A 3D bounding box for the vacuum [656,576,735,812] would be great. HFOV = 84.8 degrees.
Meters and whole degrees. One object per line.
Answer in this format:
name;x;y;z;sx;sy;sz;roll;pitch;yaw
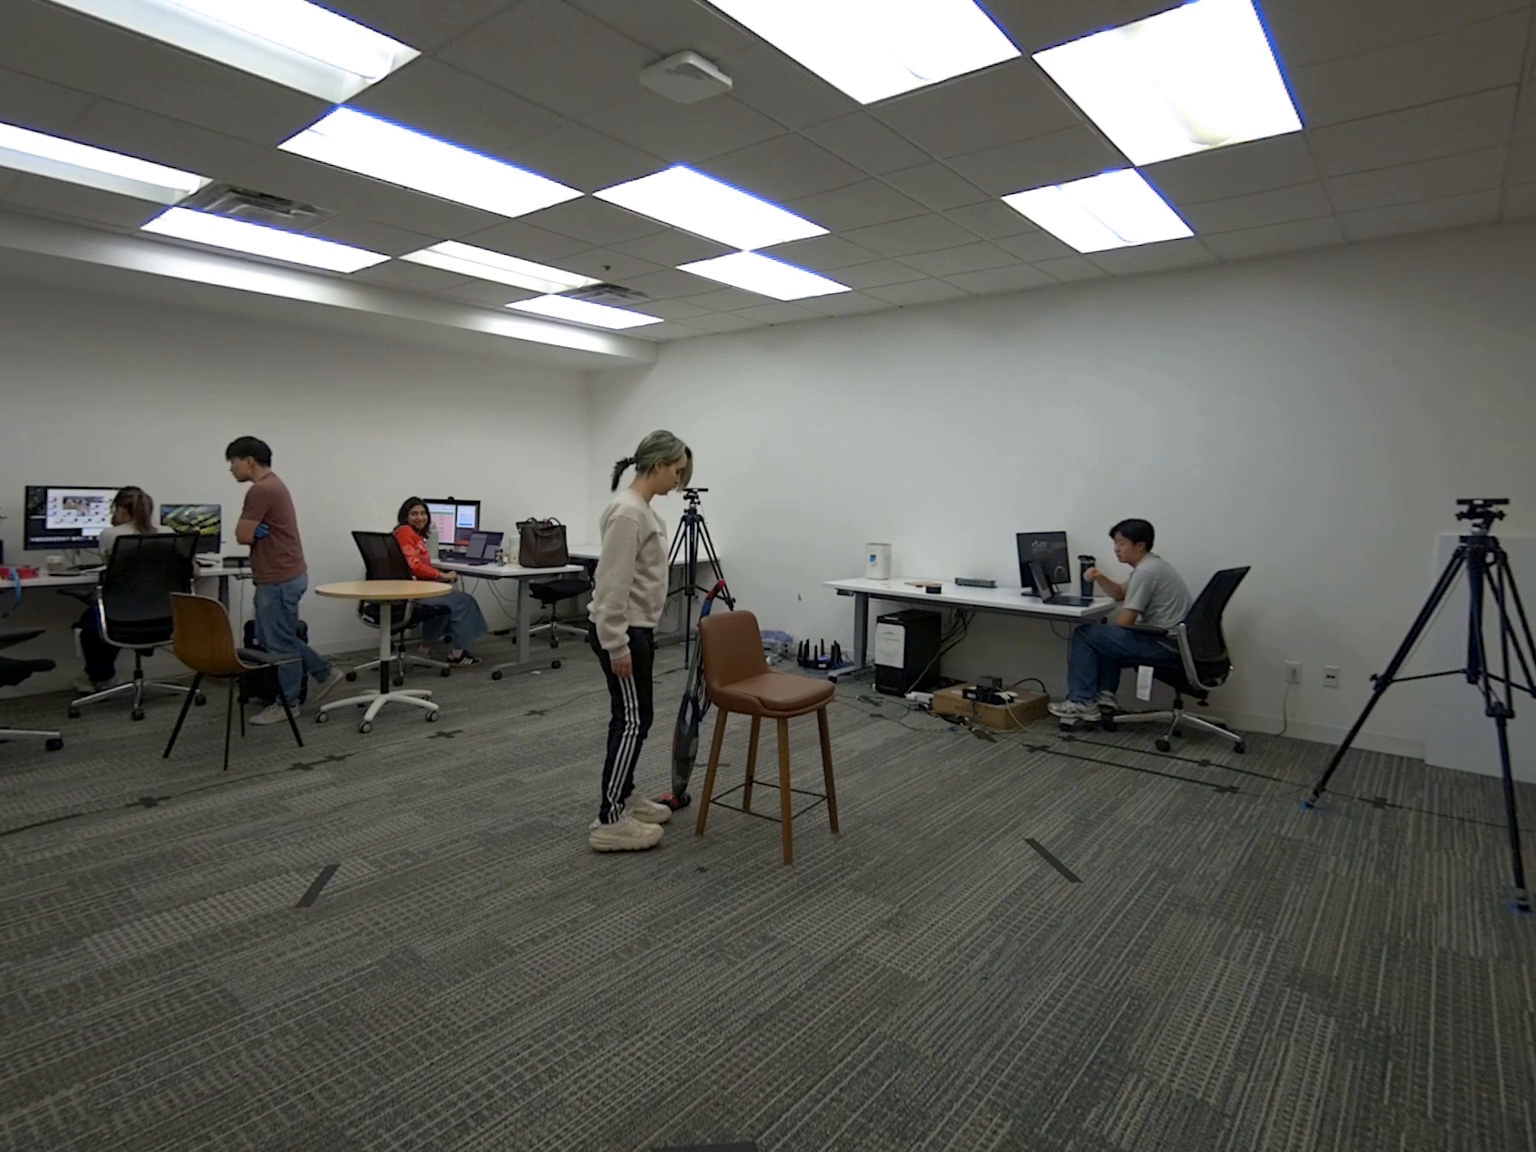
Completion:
vacuum;-0.328;0.521;3.648;0.148;1.042;0.246;18;11;26
